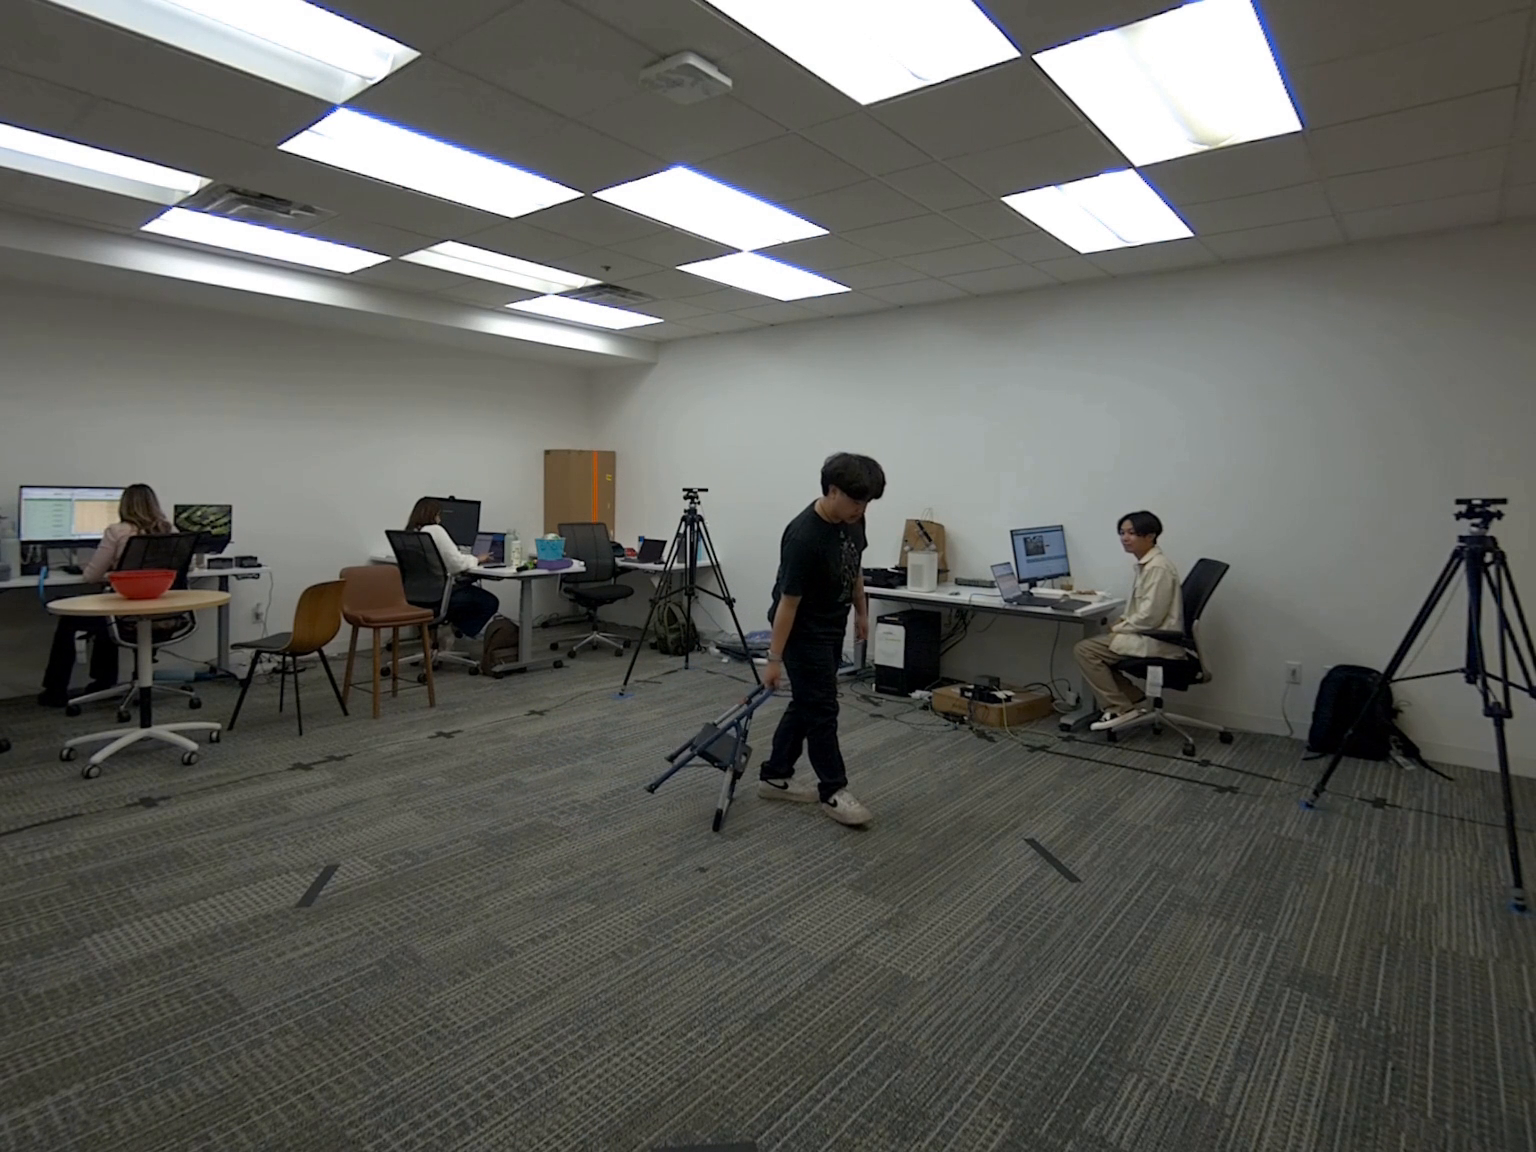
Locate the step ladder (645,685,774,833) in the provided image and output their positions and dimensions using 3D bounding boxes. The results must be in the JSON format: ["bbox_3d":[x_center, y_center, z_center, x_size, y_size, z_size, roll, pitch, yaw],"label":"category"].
[{"bbox_3d":[-0.204,0.681,3.636,0.352,0.604,0.429,30,7,3],"label":"step ladder"}]
